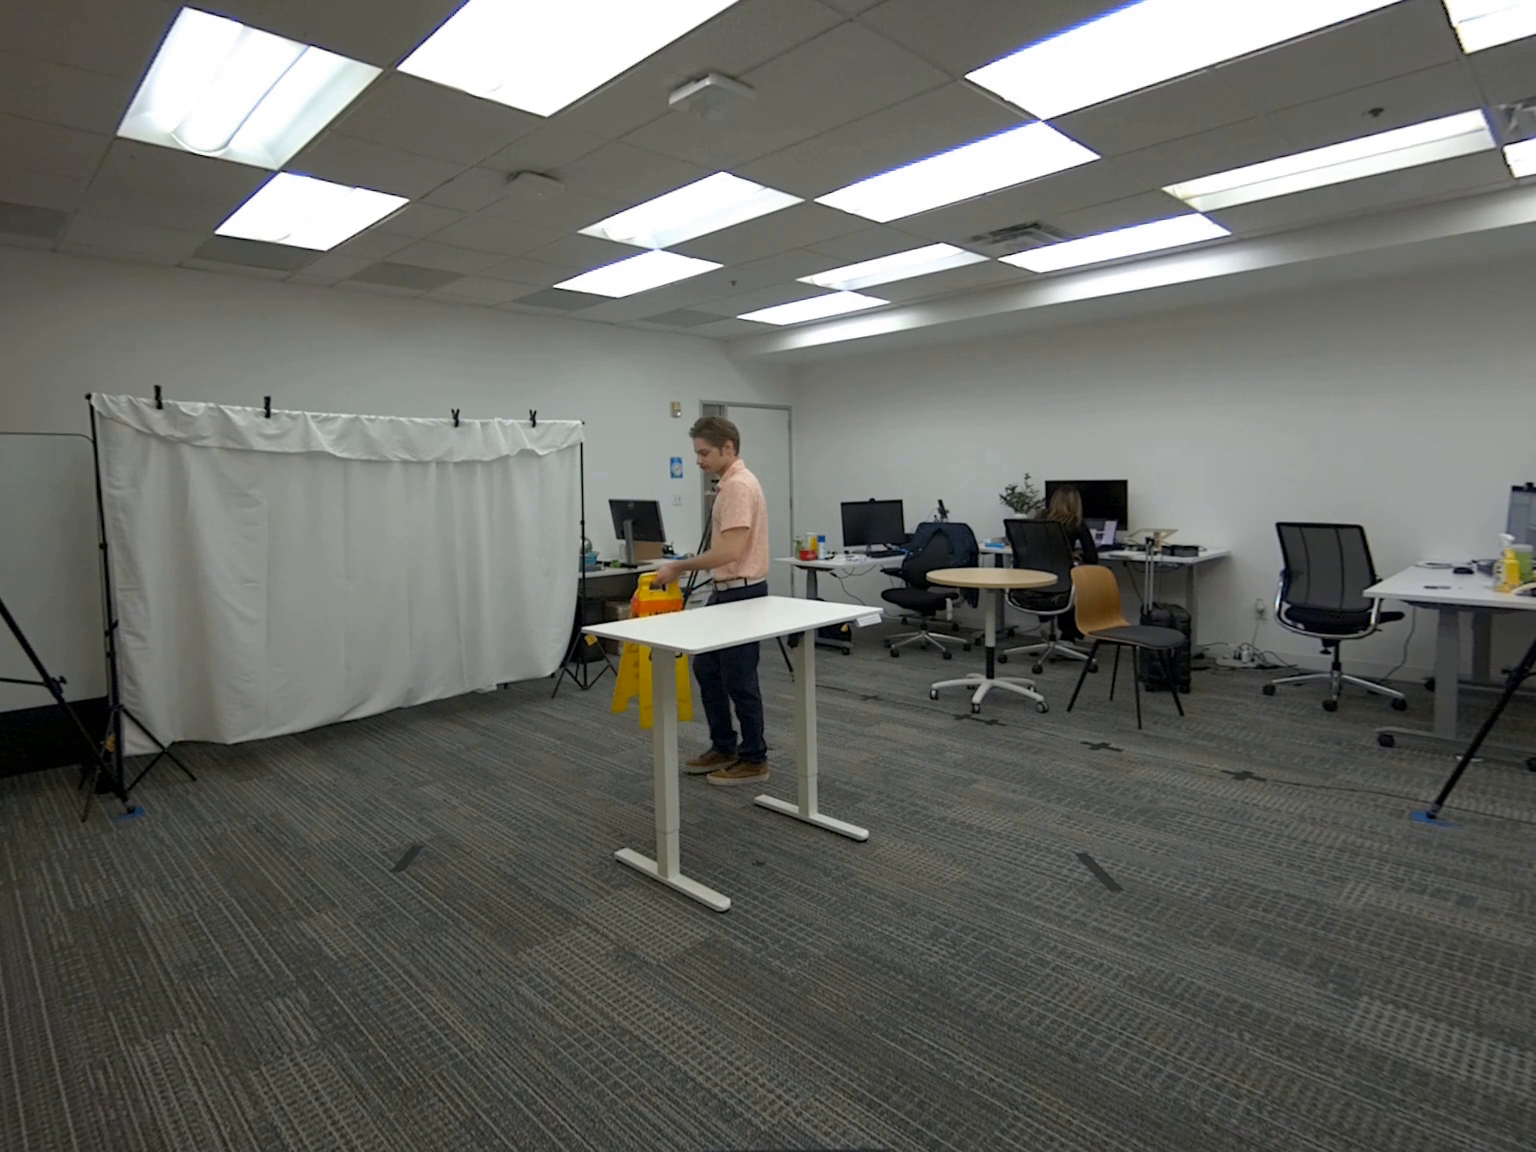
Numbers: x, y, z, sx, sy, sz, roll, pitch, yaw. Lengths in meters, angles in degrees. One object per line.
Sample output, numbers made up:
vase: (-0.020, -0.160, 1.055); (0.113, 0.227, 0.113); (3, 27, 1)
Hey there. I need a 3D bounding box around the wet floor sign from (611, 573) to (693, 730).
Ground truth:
wet floor sign: (-0.499, 0.308, 3.780); (0.274, 0.643, 0.299); (-1, 7, -41)
